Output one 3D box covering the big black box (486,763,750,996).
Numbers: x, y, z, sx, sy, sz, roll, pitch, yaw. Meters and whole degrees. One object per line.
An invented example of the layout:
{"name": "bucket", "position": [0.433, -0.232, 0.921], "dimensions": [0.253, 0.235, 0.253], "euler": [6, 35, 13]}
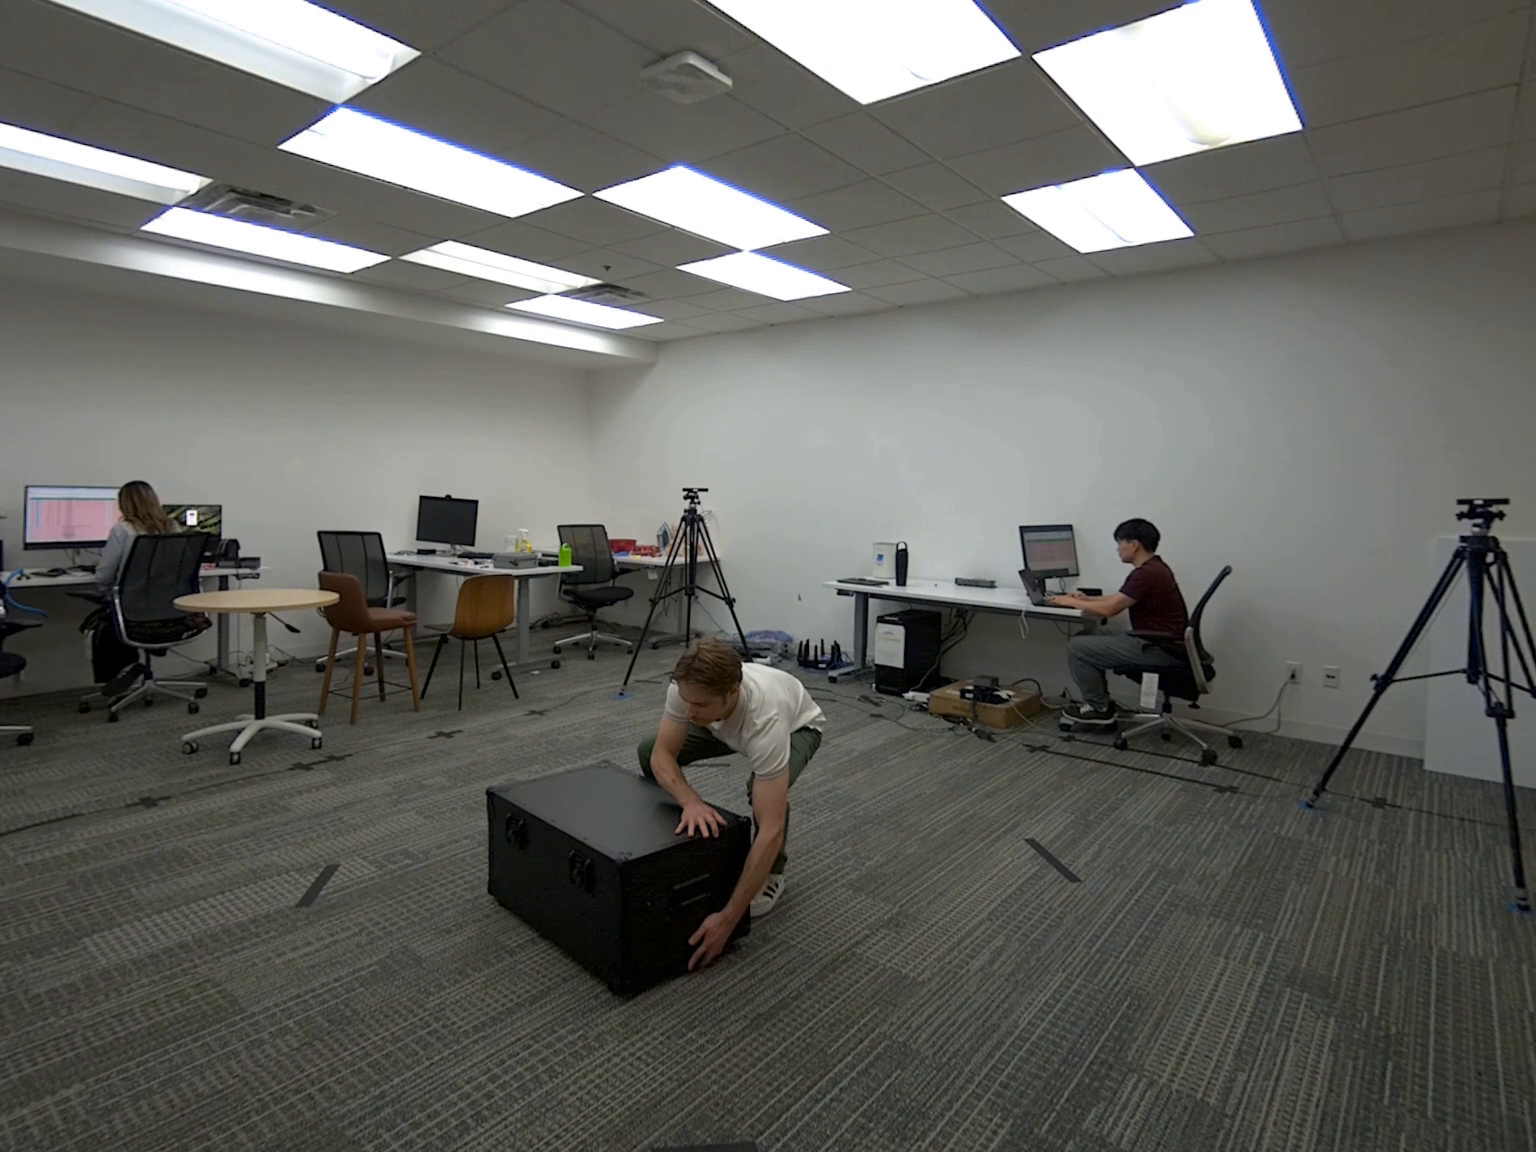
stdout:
{"name": "big black box", "position": [-0.525, 0.899, 2.746], "dimensions": [0.508, 0.383, 0.898], "euler": [-5, 7, -42]}
